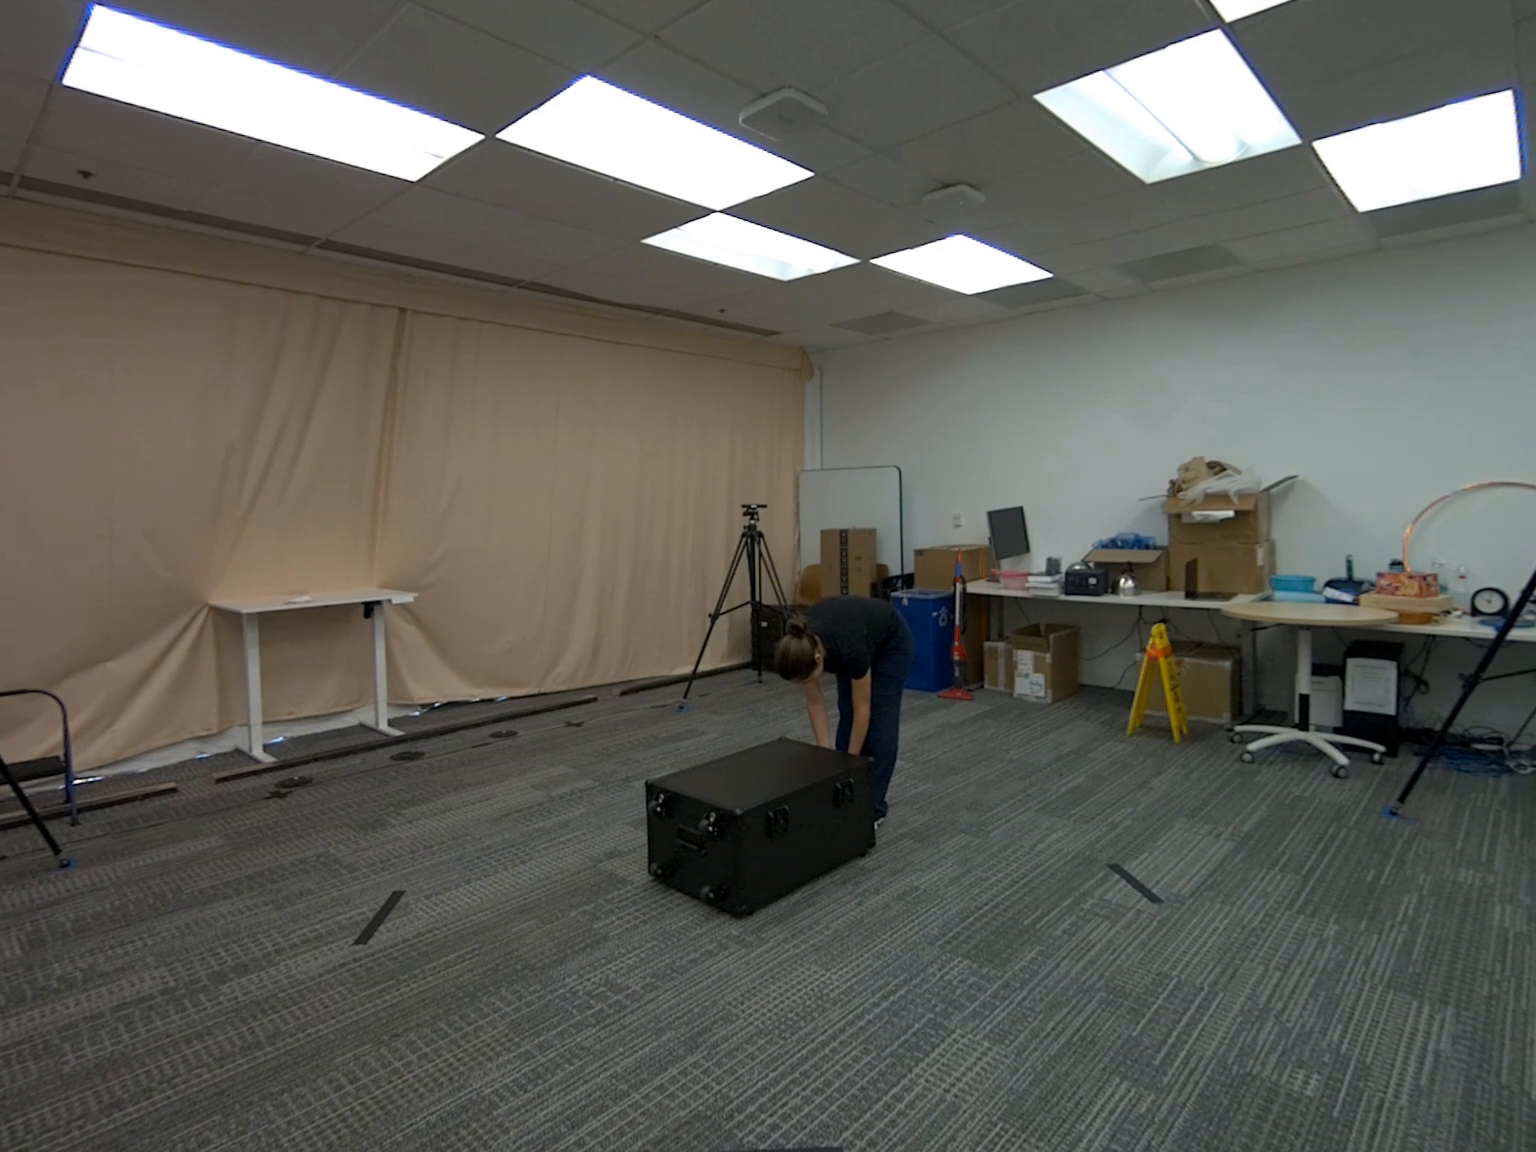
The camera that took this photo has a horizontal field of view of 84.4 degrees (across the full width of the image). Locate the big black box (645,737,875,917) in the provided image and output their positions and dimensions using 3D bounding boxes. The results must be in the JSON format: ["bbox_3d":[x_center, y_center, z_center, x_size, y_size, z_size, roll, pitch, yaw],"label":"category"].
[{"bbox_3d":[-0.026,0.931,3.216,0.538,0.395,0.835,2,5,43],"label":"big black box"}]
